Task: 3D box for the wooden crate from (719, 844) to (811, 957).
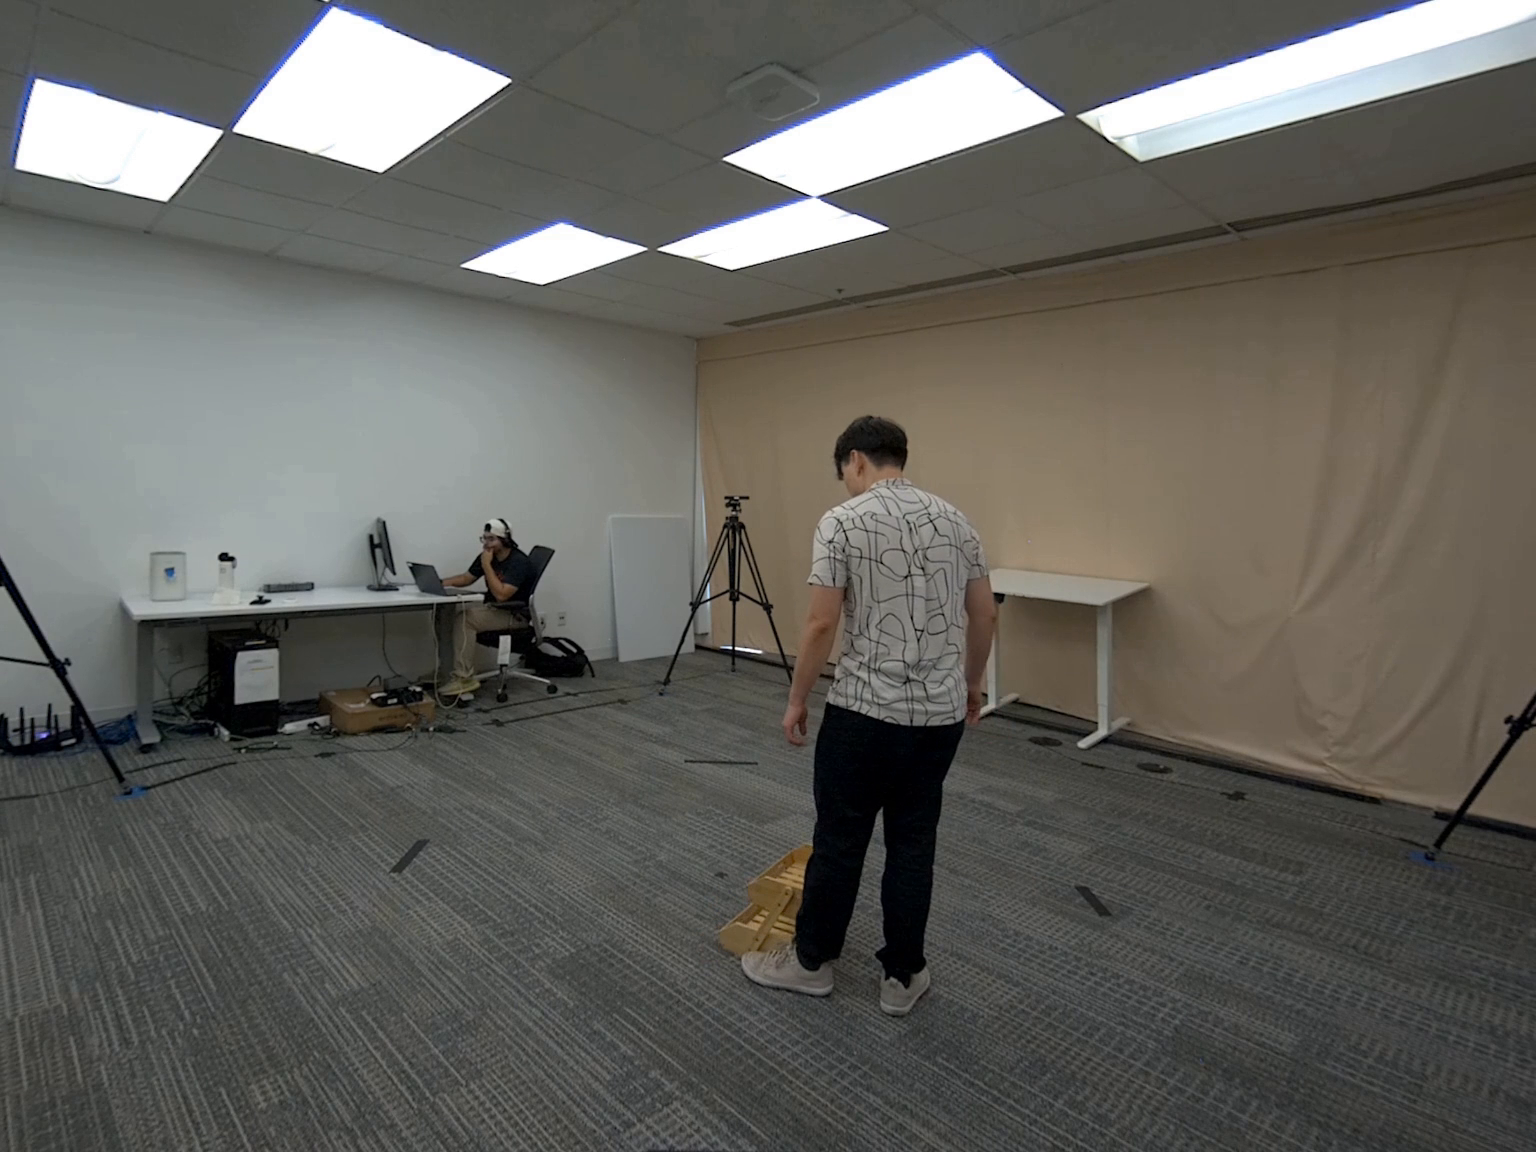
[{"bbox_3d":[0.043,1.017,2.643,0.309,0.272,0.318,5,7,29],"label":"wooden crate"}]
